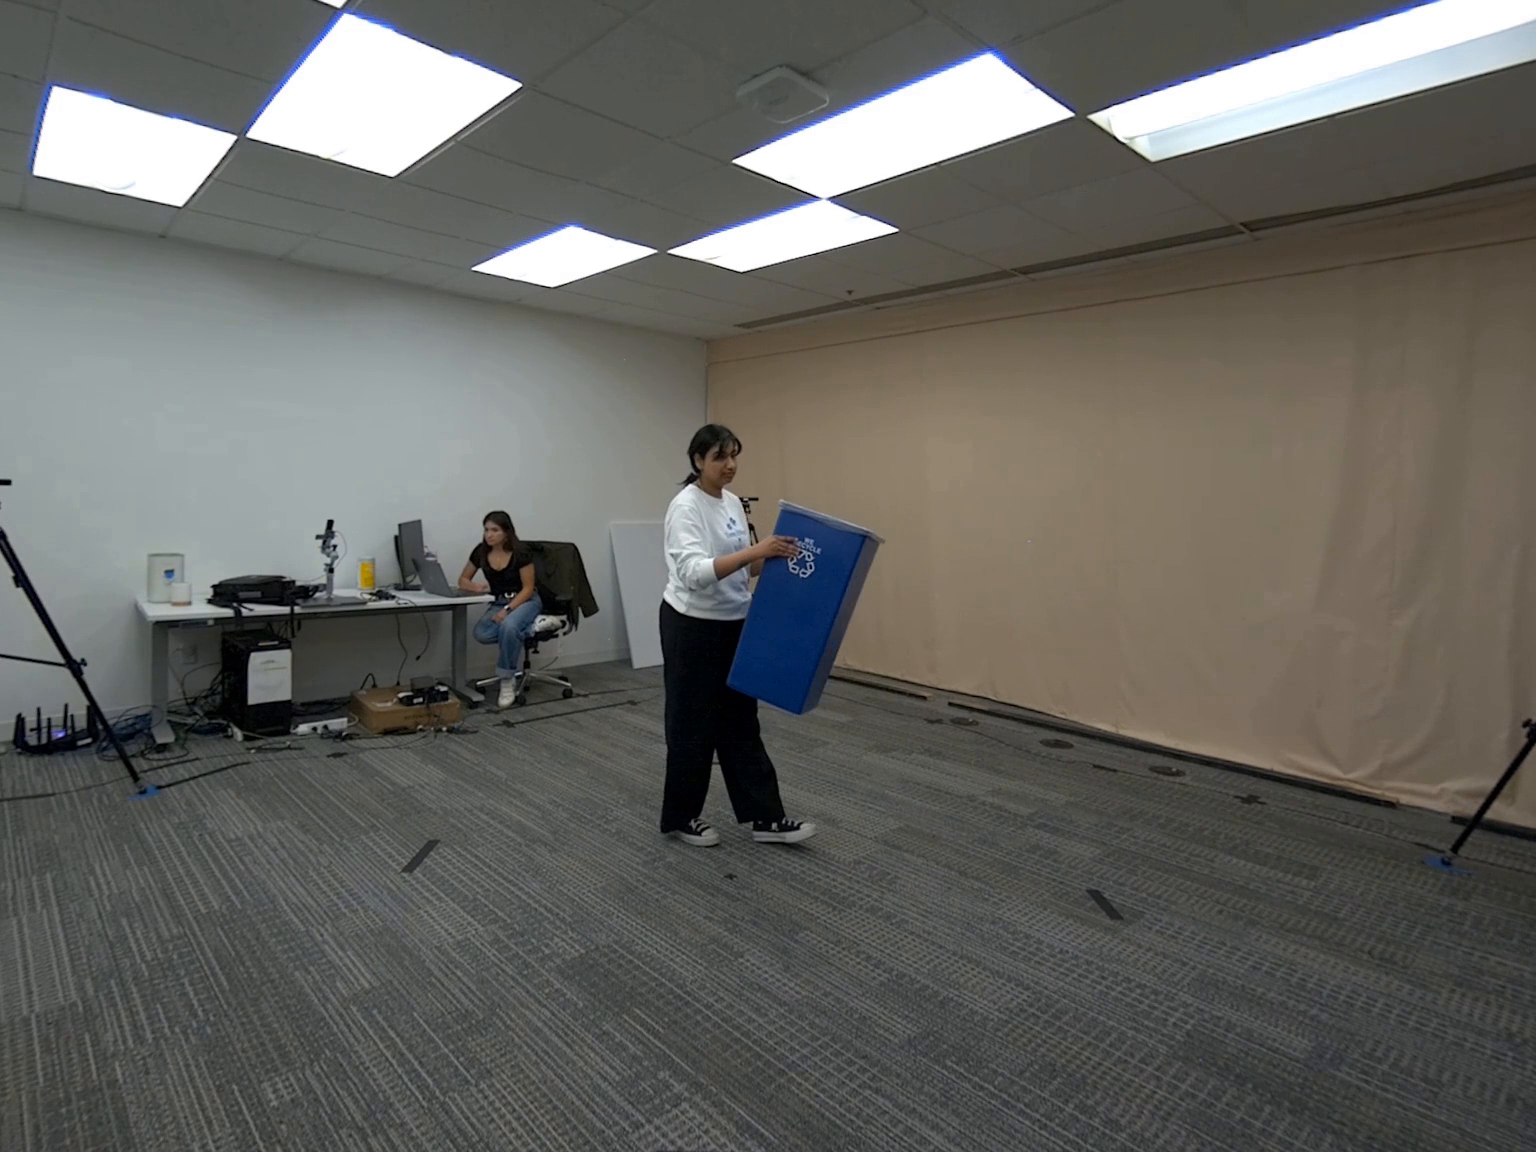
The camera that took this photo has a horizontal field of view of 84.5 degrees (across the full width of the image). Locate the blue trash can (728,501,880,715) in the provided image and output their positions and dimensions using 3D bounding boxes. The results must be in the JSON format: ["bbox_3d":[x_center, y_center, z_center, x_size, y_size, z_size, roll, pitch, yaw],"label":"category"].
[{"bbox_3d":[0.133,0.122,3.191,0.380,0.713,0.372,19,2,17],"label":"blue trash can"}]
